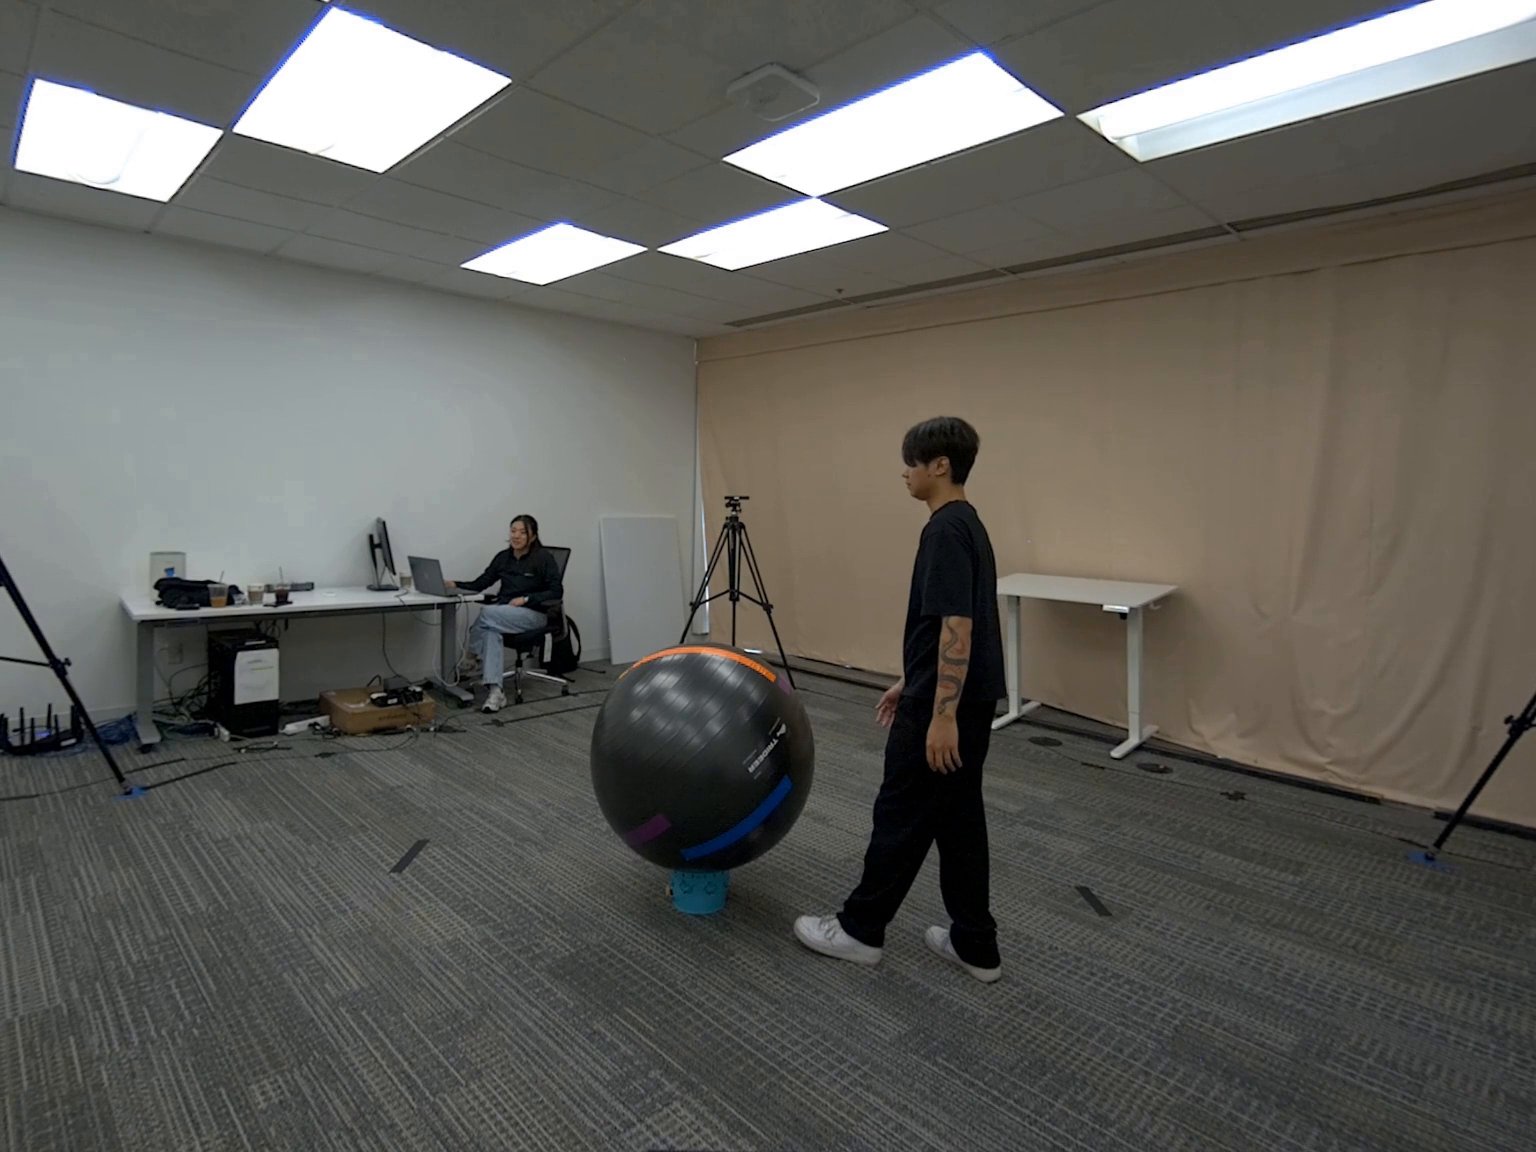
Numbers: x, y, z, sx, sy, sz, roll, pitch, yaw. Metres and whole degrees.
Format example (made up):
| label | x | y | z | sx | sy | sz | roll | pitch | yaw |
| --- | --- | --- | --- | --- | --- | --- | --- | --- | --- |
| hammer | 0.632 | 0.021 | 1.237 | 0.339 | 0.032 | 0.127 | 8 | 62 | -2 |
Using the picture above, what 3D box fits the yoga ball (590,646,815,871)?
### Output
| label | x | y | z | sx | sy | sz | roll | pitch | yaw |
| --- | --- | --- | --- | --- | --- | --- | --- | --- | --- |
| yoga ball | -0.235 | 0.615 | 2.868 | 0.757 | 0.756 | 0.761 | 1 | 4 | -1 |
